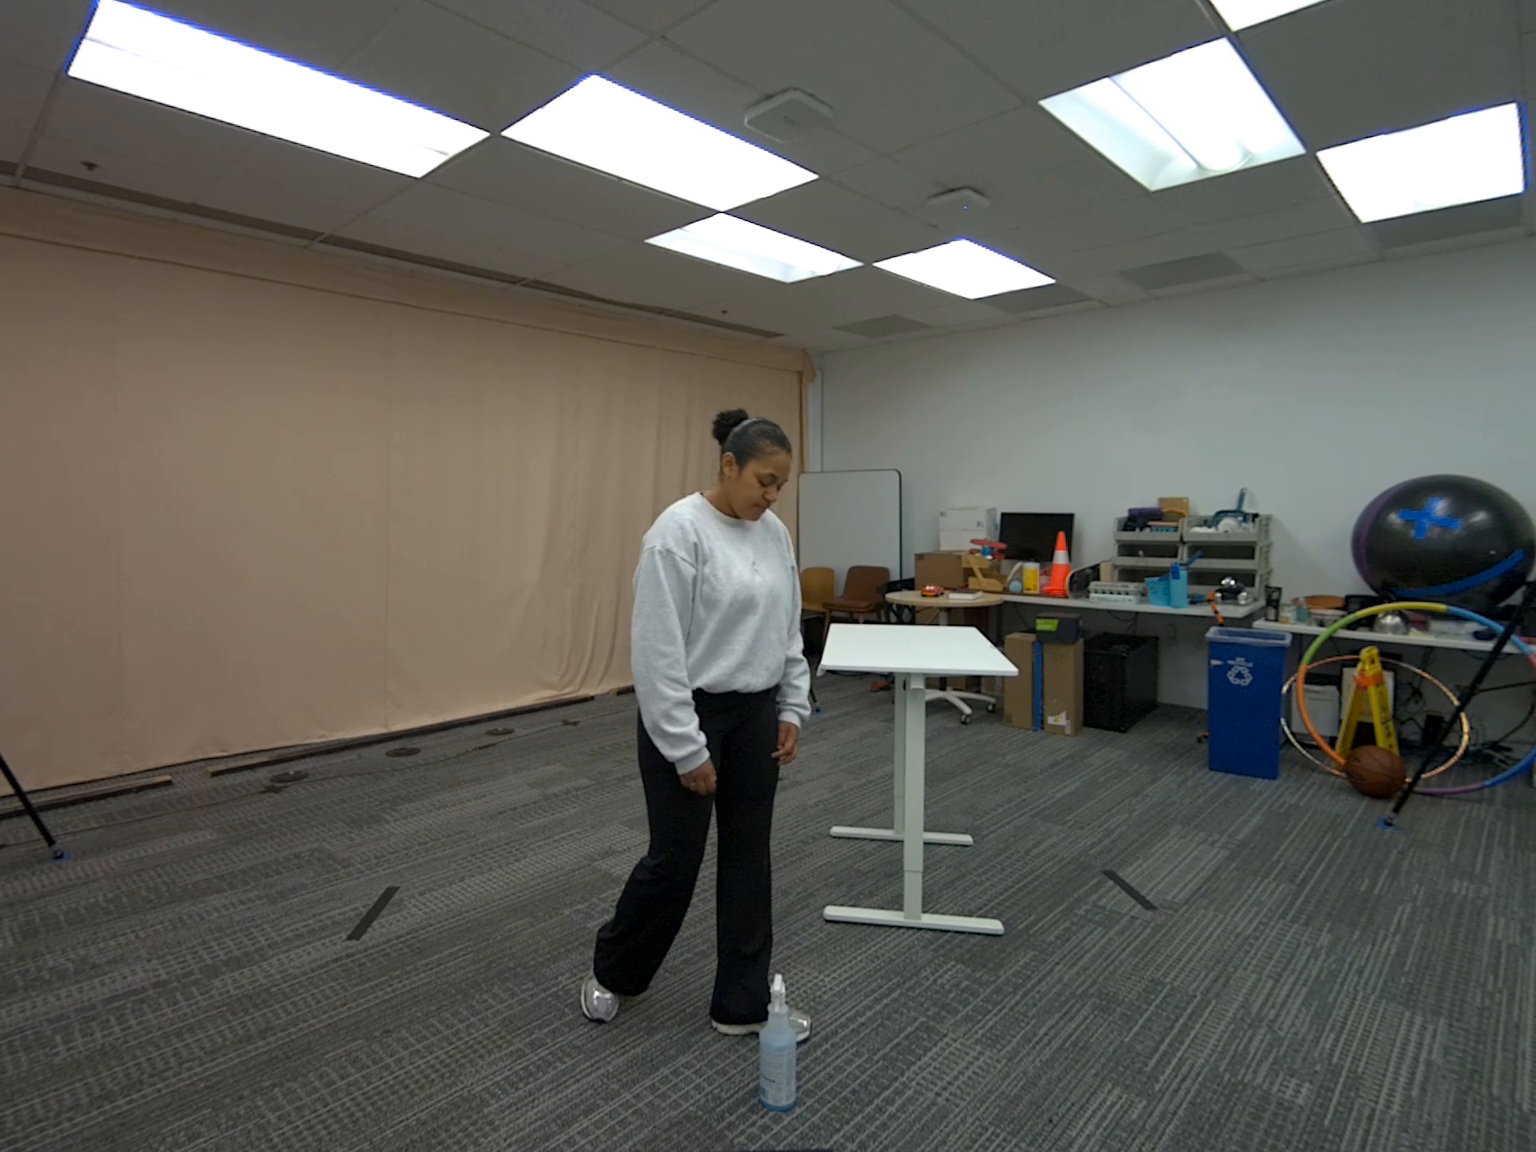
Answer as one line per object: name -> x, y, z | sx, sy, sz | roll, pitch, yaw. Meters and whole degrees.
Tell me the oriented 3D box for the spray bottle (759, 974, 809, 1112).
spray bottle -> 0.029, 1.086, 1.960 | 0.089, 0.297, 0.087 | 2, 3, 31
